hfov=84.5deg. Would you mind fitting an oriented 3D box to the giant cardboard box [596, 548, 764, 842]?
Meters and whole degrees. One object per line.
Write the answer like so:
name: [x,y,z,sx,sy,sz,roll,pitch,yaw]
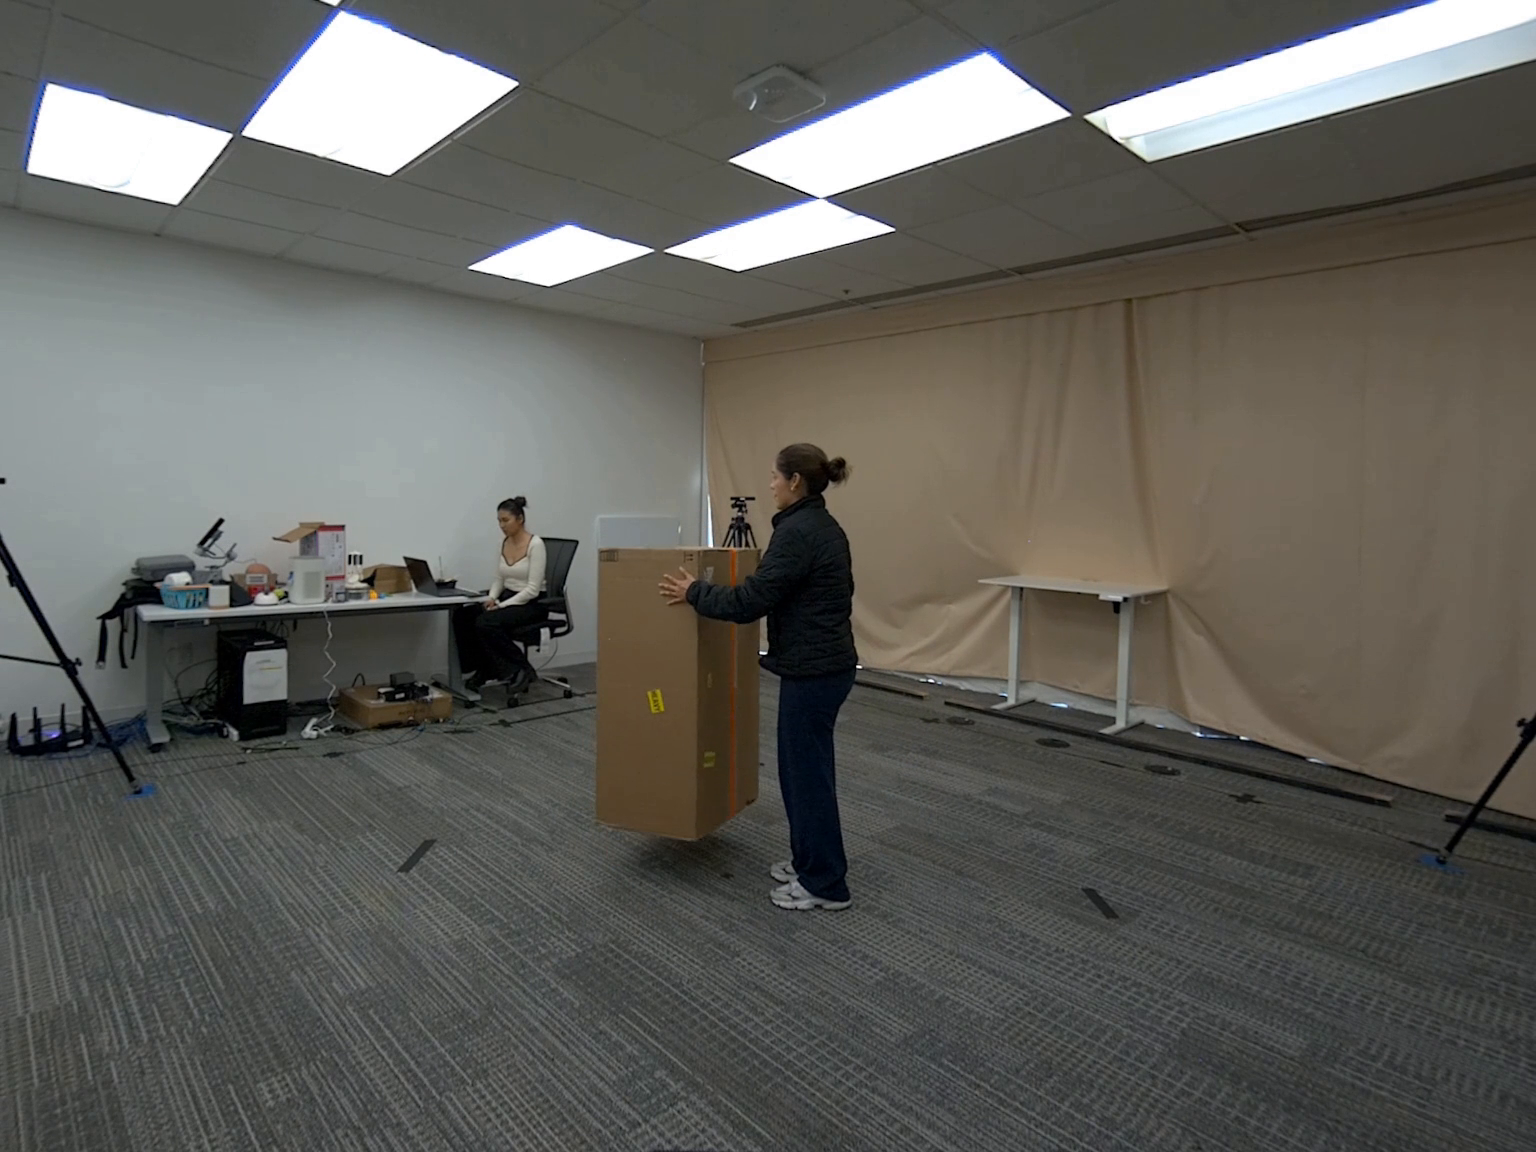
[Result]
giant cardboard box: [-0.332,0.409,3.269,0.434,1.025,0.567,1,1,24]
